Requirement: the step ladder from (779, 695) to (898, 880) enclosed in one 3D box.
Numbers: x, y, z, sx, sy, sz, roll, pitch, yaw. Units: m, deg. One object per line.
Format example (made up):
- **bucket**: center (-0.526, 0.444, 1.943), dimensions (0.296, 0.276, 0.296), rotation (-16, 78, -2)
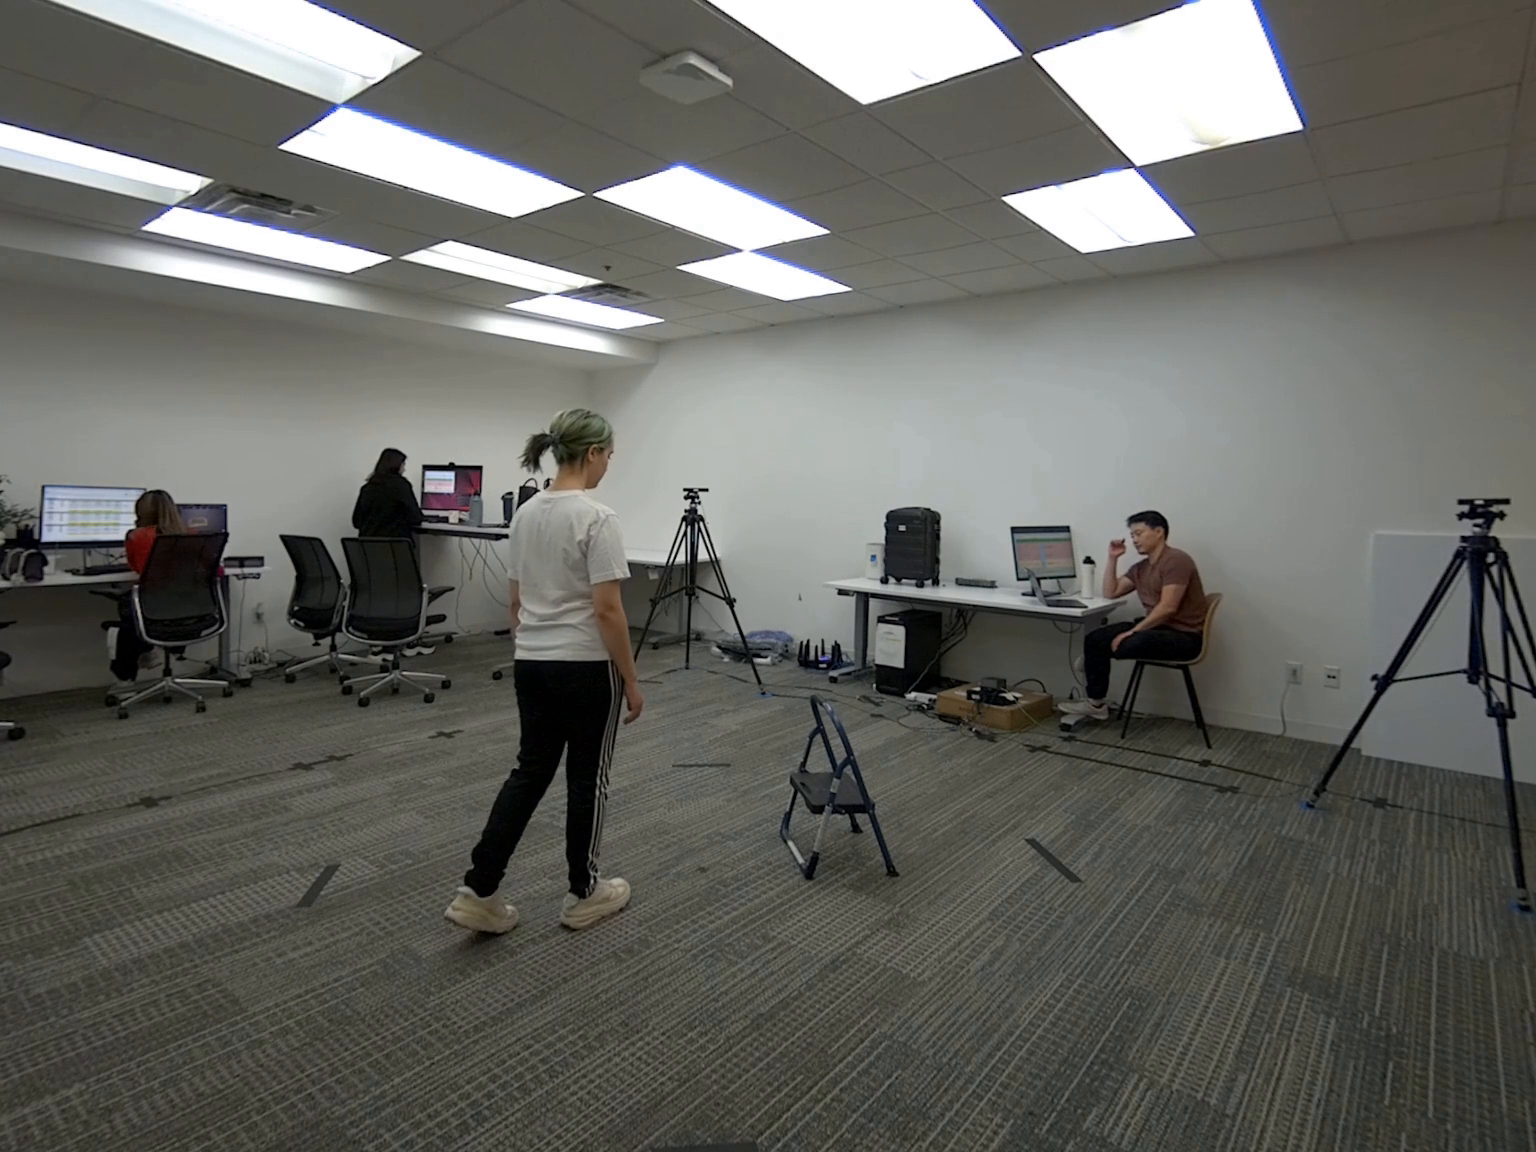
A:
- **step ladder**: center (0.259, 0.765, 3.253), dimensions (0.345, 0.604, 0.437), rotation (1, 3, -13)
